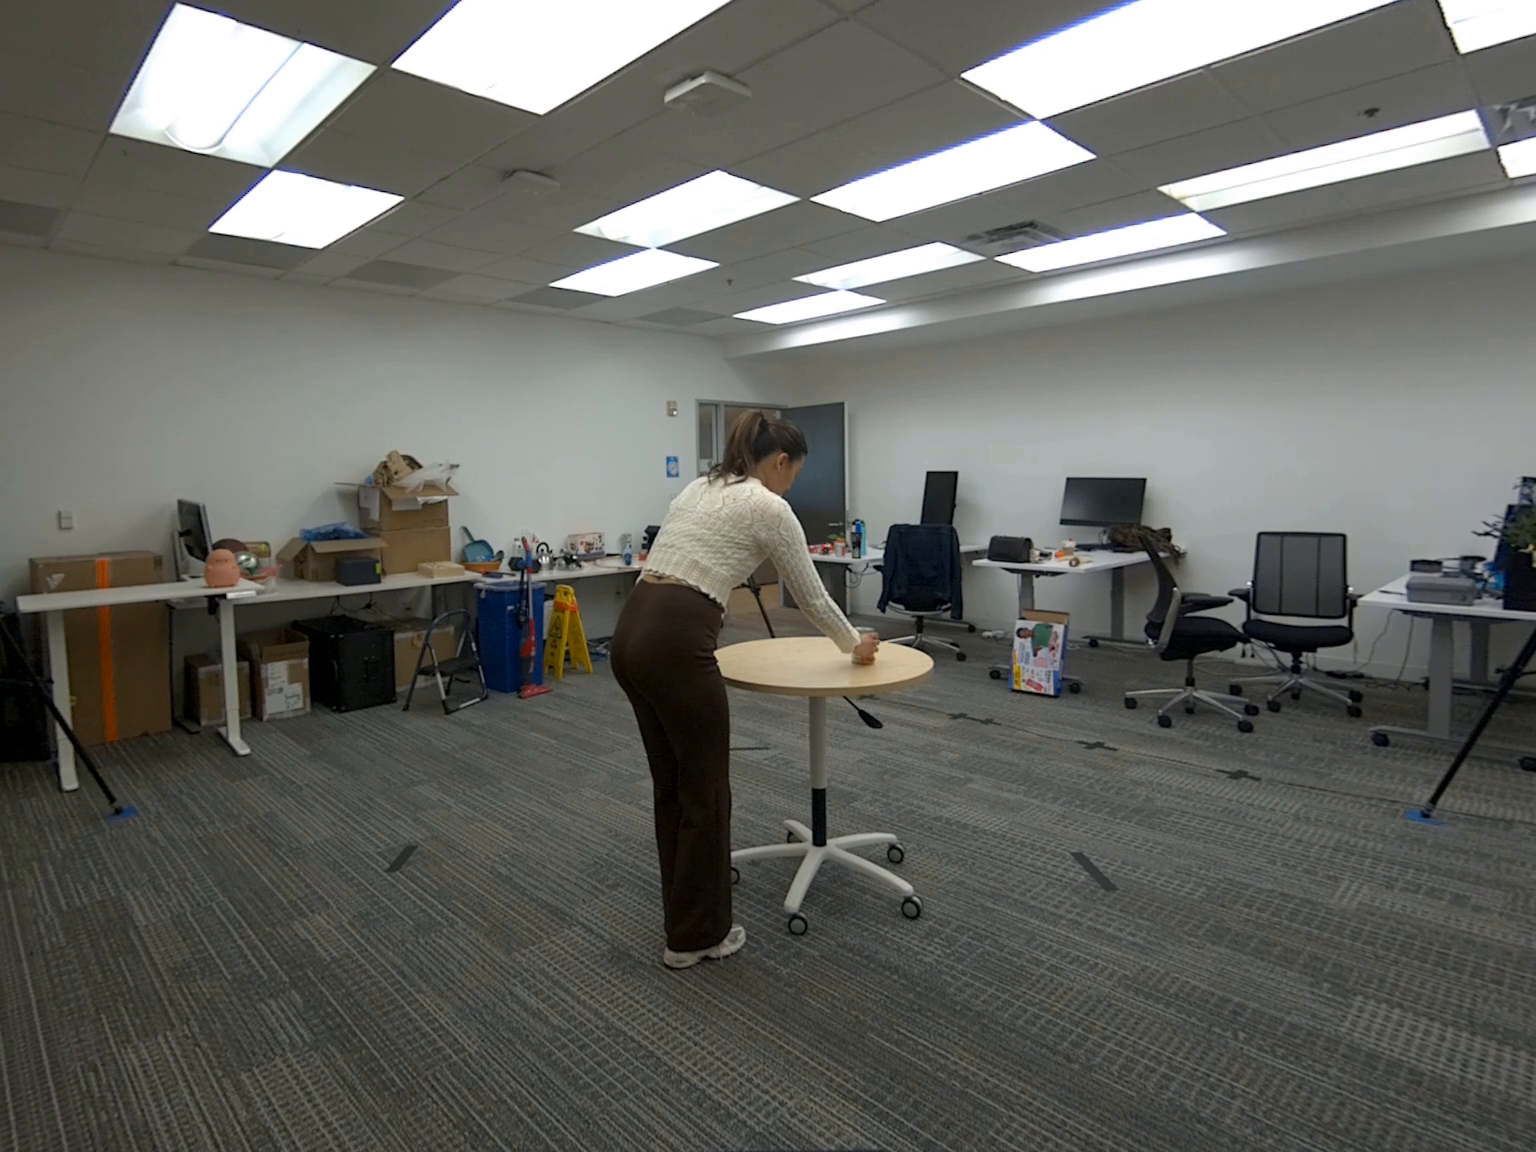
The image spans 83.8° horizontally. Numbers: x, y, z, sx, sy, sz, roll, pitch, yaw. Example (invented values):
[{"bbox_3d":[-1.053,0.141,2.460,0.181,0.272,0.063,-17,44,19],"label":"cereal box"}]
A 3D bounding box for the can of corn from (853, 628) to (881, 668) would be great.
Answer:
[{"bbox_3d":[0.325,0.234,2.820,0.074,0.110,0.075,0,8,-2],"label":"can of corn"}]
